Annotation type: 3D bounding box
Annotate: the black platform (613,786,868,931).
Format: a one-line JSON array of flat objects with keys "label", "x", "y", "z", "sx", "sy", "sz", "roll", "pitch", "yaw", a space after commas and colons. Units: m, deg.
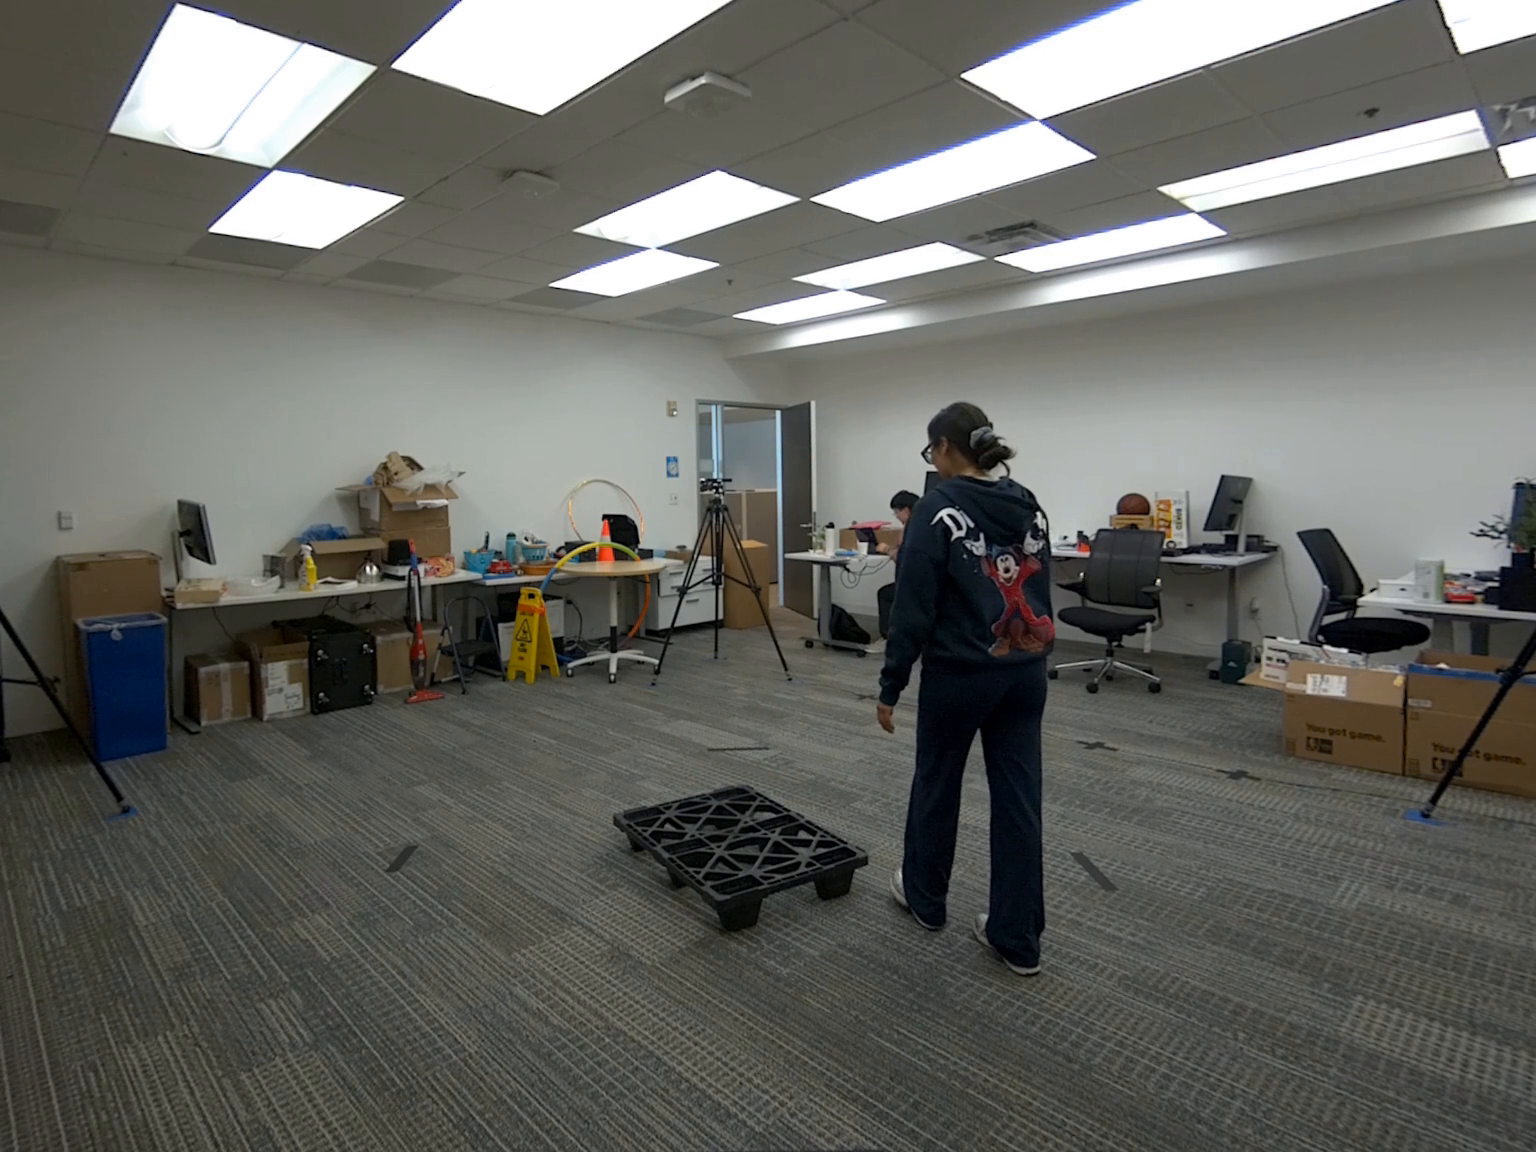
[{"label": "black platform", "x": -0.122, "y": 0.986, "z": 3.053, "sx": 0.591, "sy": 0.142, "sz": 0.829, "roll": -6, "pitch": 8, "yaw": -32}]
